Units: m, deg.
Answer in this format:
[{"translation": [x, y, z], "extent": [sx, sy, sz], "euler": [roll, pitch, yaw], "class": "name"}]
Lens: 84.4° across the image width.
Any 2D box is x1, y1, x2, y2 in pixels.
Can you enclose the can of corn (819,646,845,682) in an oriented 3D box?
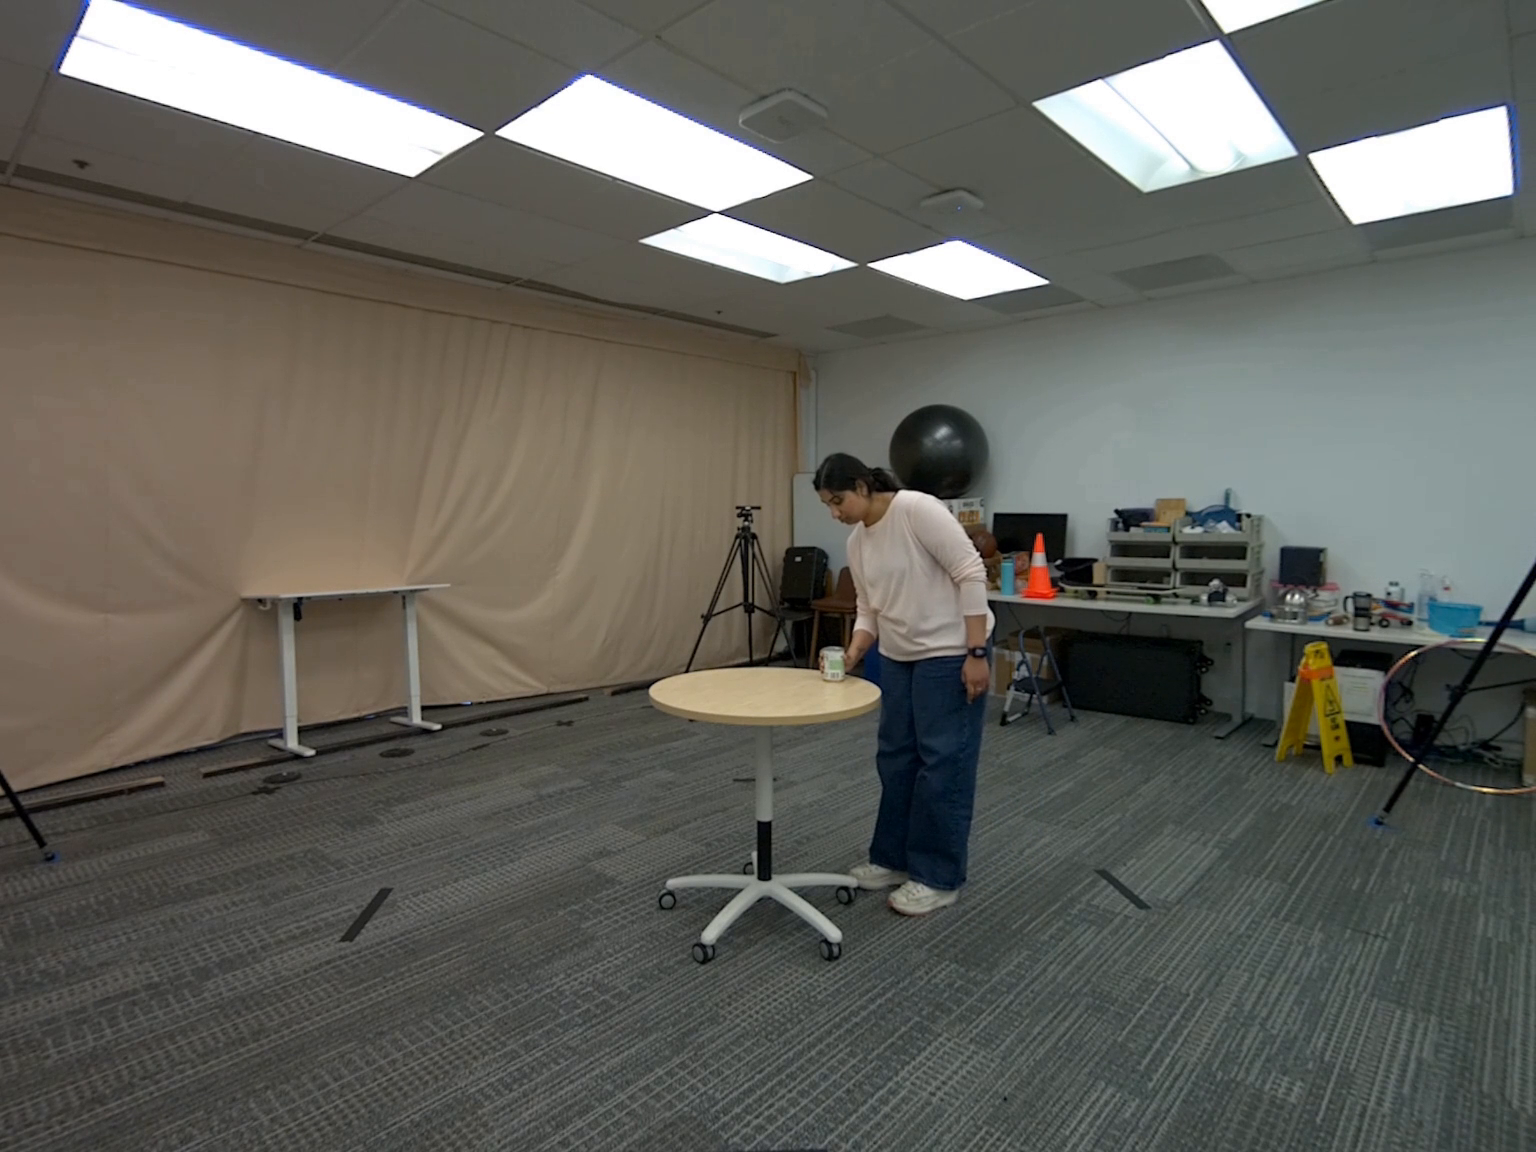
[{"translation": [0.226, 0.308, 2.939], "extent": [0.074, 0.111, 0.074], "euler": [2, 4, -2], "class": "can of corn"}]
